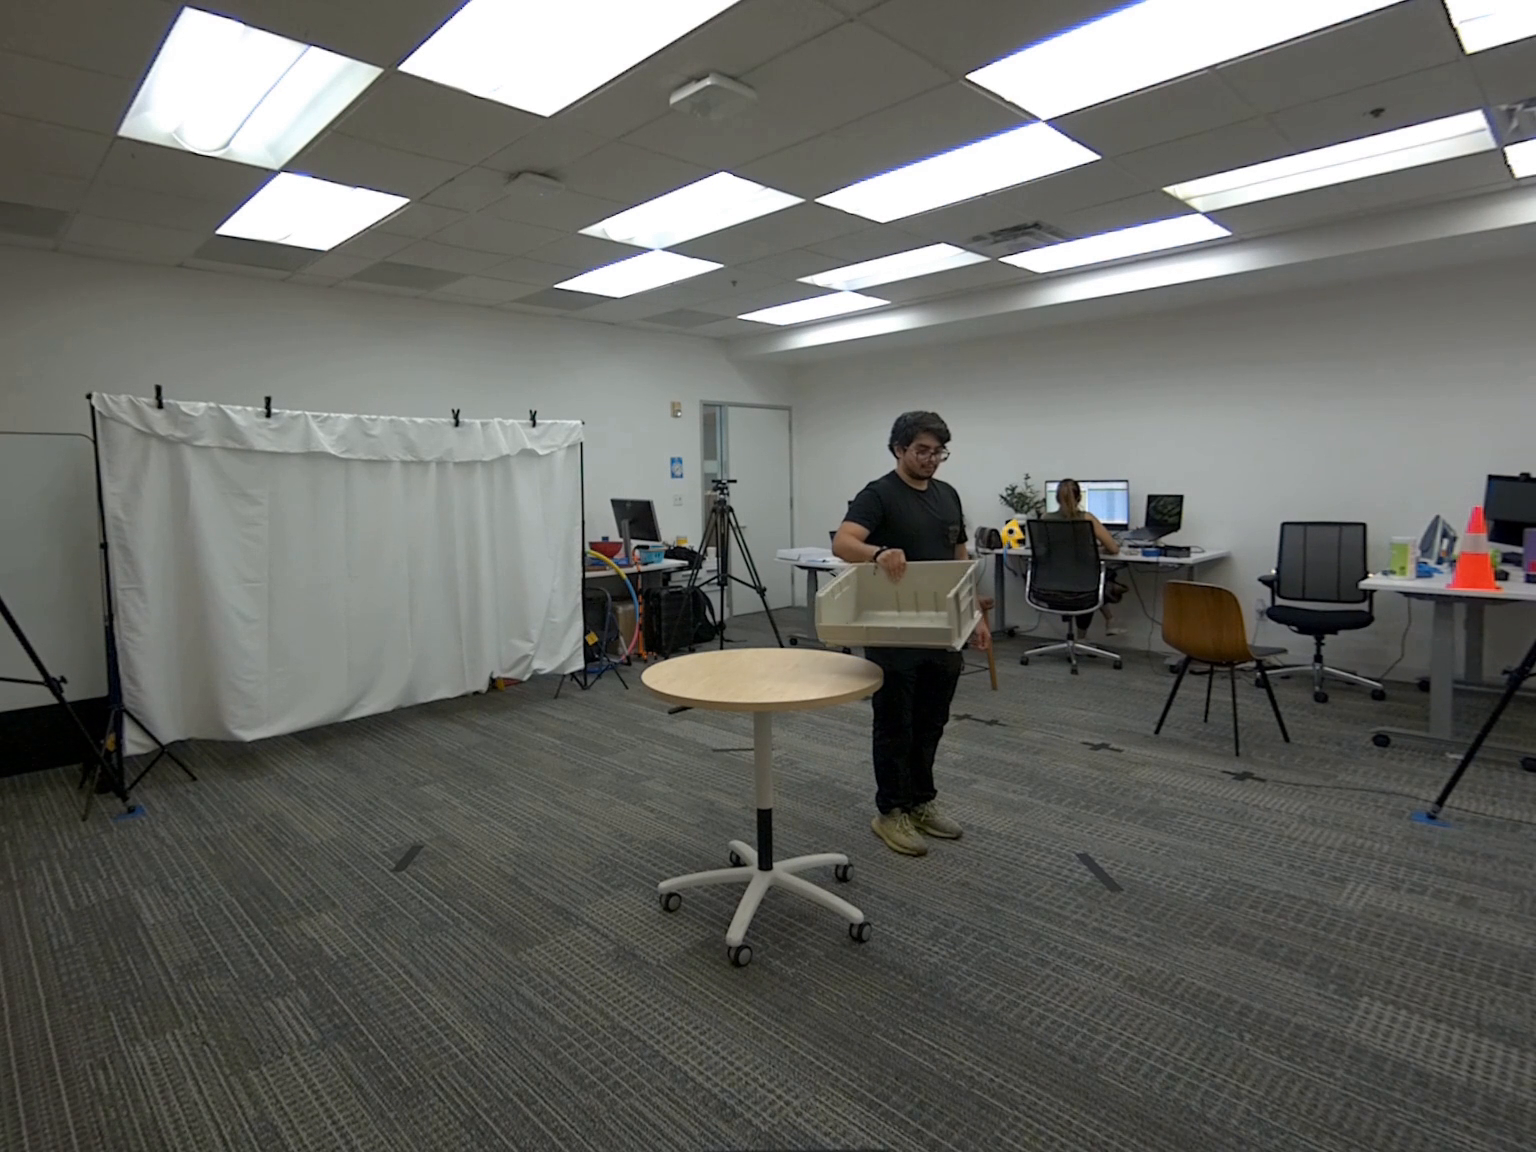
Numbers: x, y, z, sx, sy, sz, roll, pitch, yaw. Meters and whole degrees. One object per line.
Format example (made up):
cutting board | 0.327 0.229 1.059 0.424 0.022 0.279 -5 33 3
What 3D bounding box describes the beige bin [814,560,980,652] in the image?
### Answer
beige bin | 0.416 0.098 2.653 0.432 0.187 0.373 -2 14 27
